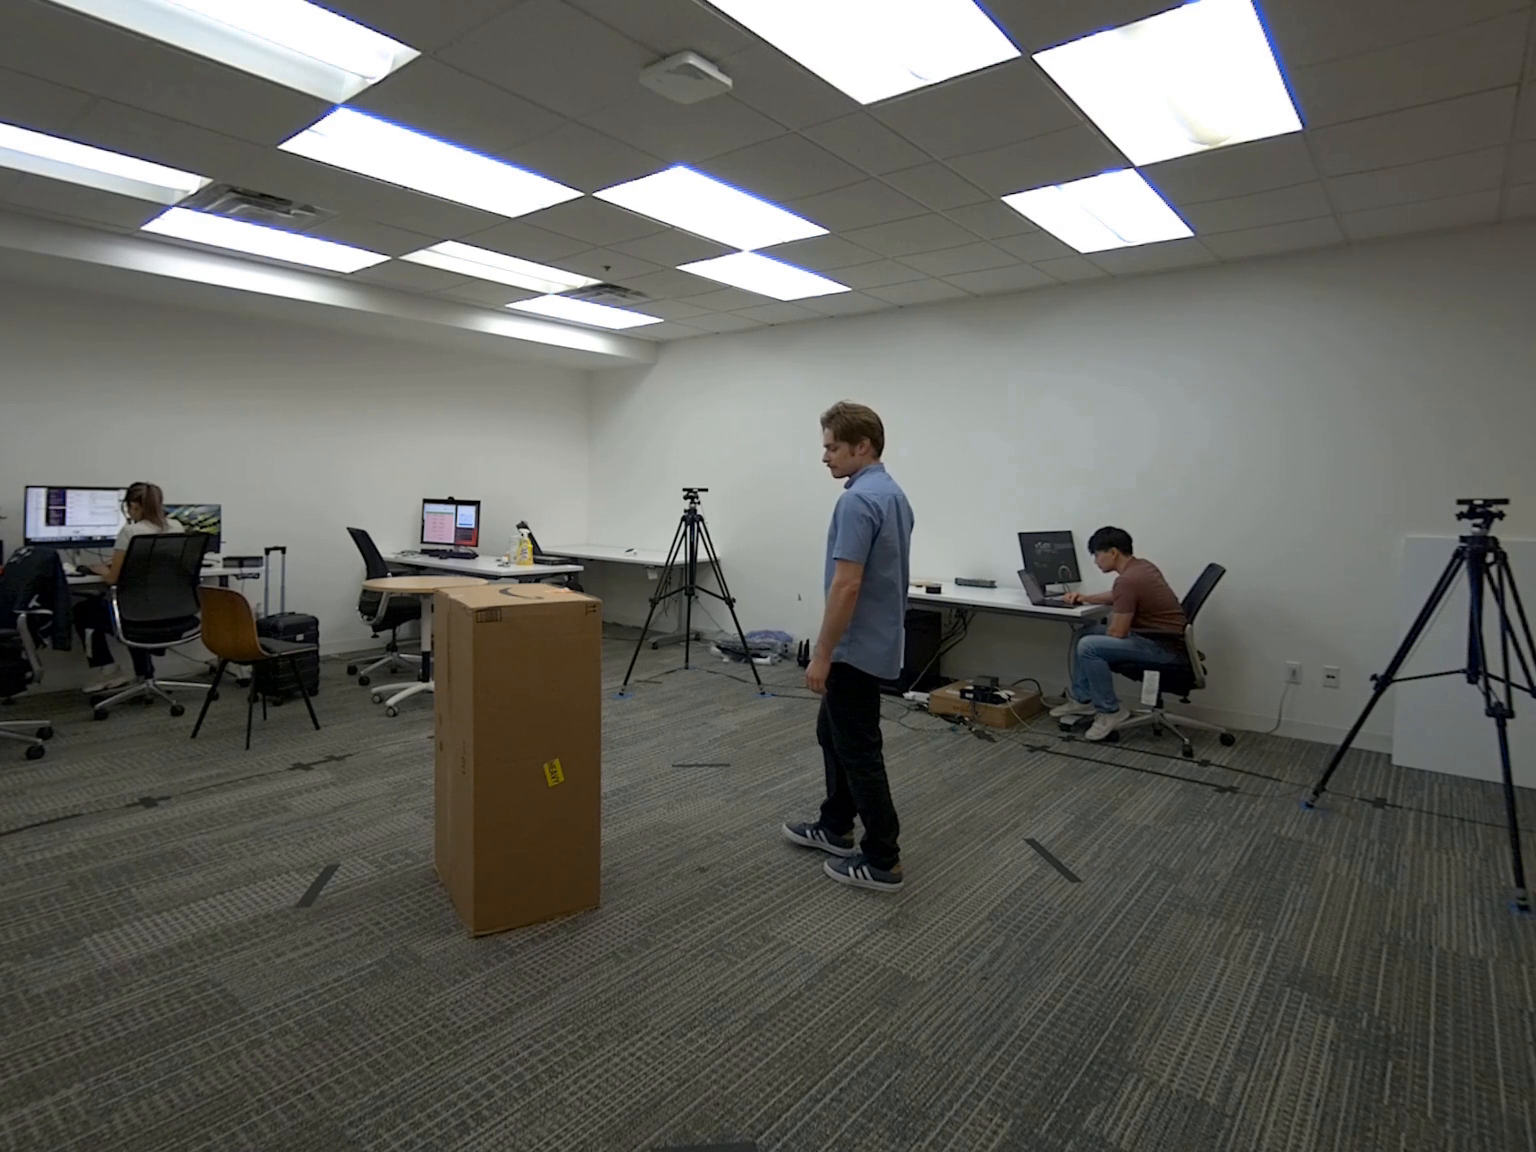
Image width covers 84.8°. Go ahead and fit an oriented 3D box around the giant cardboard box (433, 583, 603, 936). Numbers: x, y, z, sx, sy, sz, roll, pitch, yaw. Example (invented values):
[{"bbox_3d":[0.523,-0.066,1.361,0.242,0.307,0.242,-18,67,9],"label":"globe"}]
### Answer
[{"bbox_3d":[-0.887,0.567,2.928,0.414,1.023,0.595,-1,4,-32],"label":"giant cardboard box"}]
